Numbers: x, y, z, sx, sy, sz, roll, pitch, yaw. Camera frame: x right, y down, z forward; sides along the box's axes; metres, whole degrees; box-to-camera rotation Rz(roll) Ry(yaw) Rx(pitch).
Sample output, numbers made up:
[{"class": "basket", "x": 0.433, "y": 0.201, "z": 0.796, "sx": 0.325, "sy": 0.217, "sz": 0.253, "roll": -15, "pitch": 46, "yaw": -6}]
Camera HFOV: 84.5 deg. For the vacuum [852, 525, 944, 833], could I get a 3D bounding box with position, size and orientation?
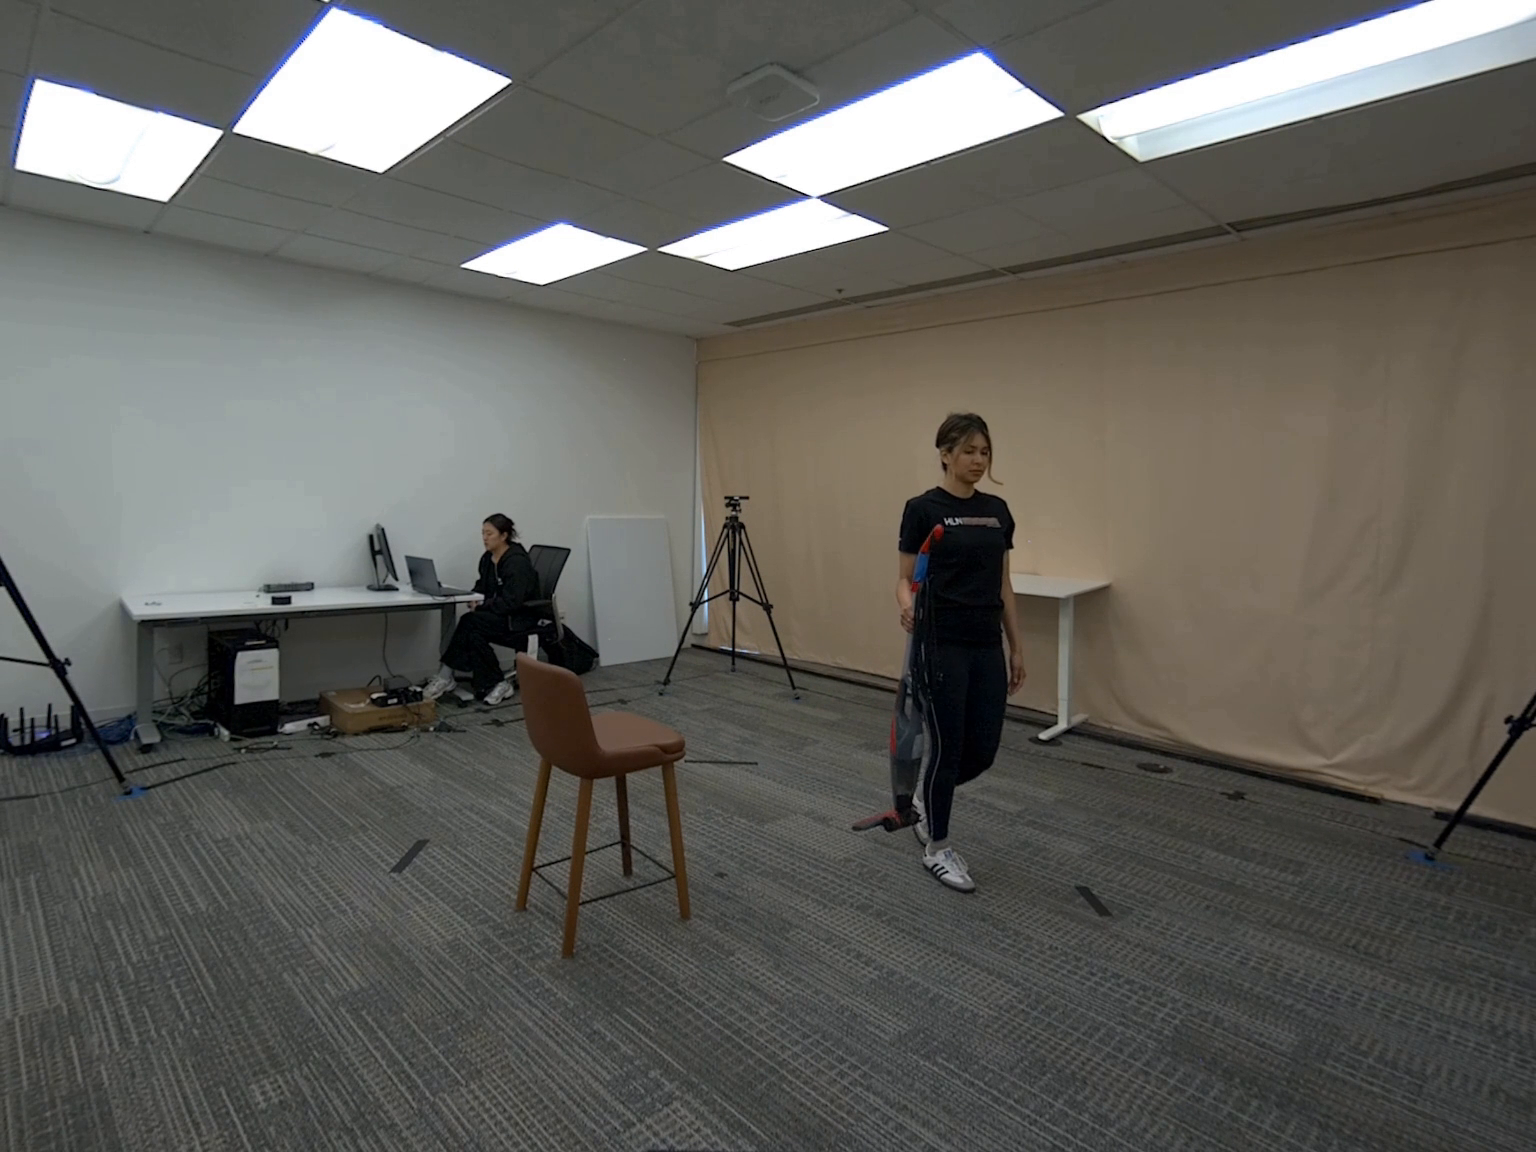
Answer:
[{"class": "vacuum", "x": 0.483, "y": 0.360, "z": 2.809, "sx": 0.247, "sy": 1.042, "sz": 0.148, "roll": -2, "pitch": 14, "yaw": -41}]
